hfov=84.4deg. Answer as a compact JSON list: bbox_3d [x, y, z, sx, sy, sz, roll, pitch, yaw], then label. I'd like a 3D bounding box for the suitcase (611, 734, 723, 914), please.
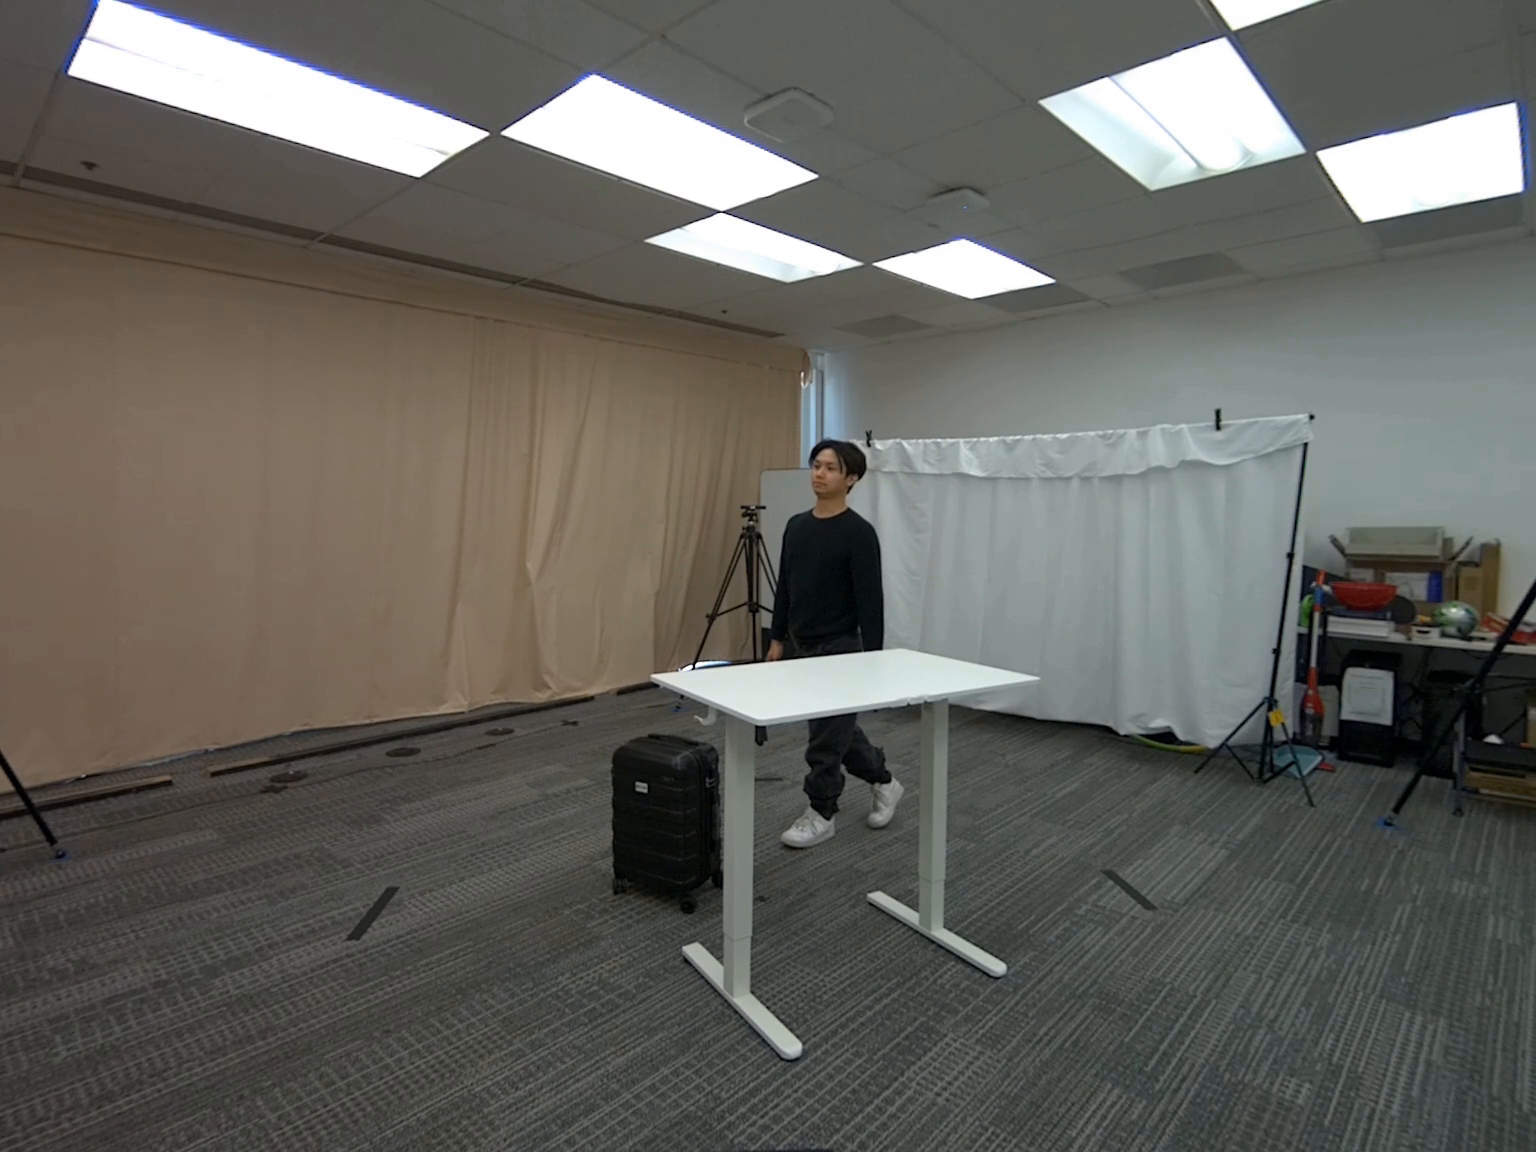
[{"bbox_3d":[-0.366,0.862,3.048,0.386,0.548,0.241,2,4,32],"label":"suitcase"}]
